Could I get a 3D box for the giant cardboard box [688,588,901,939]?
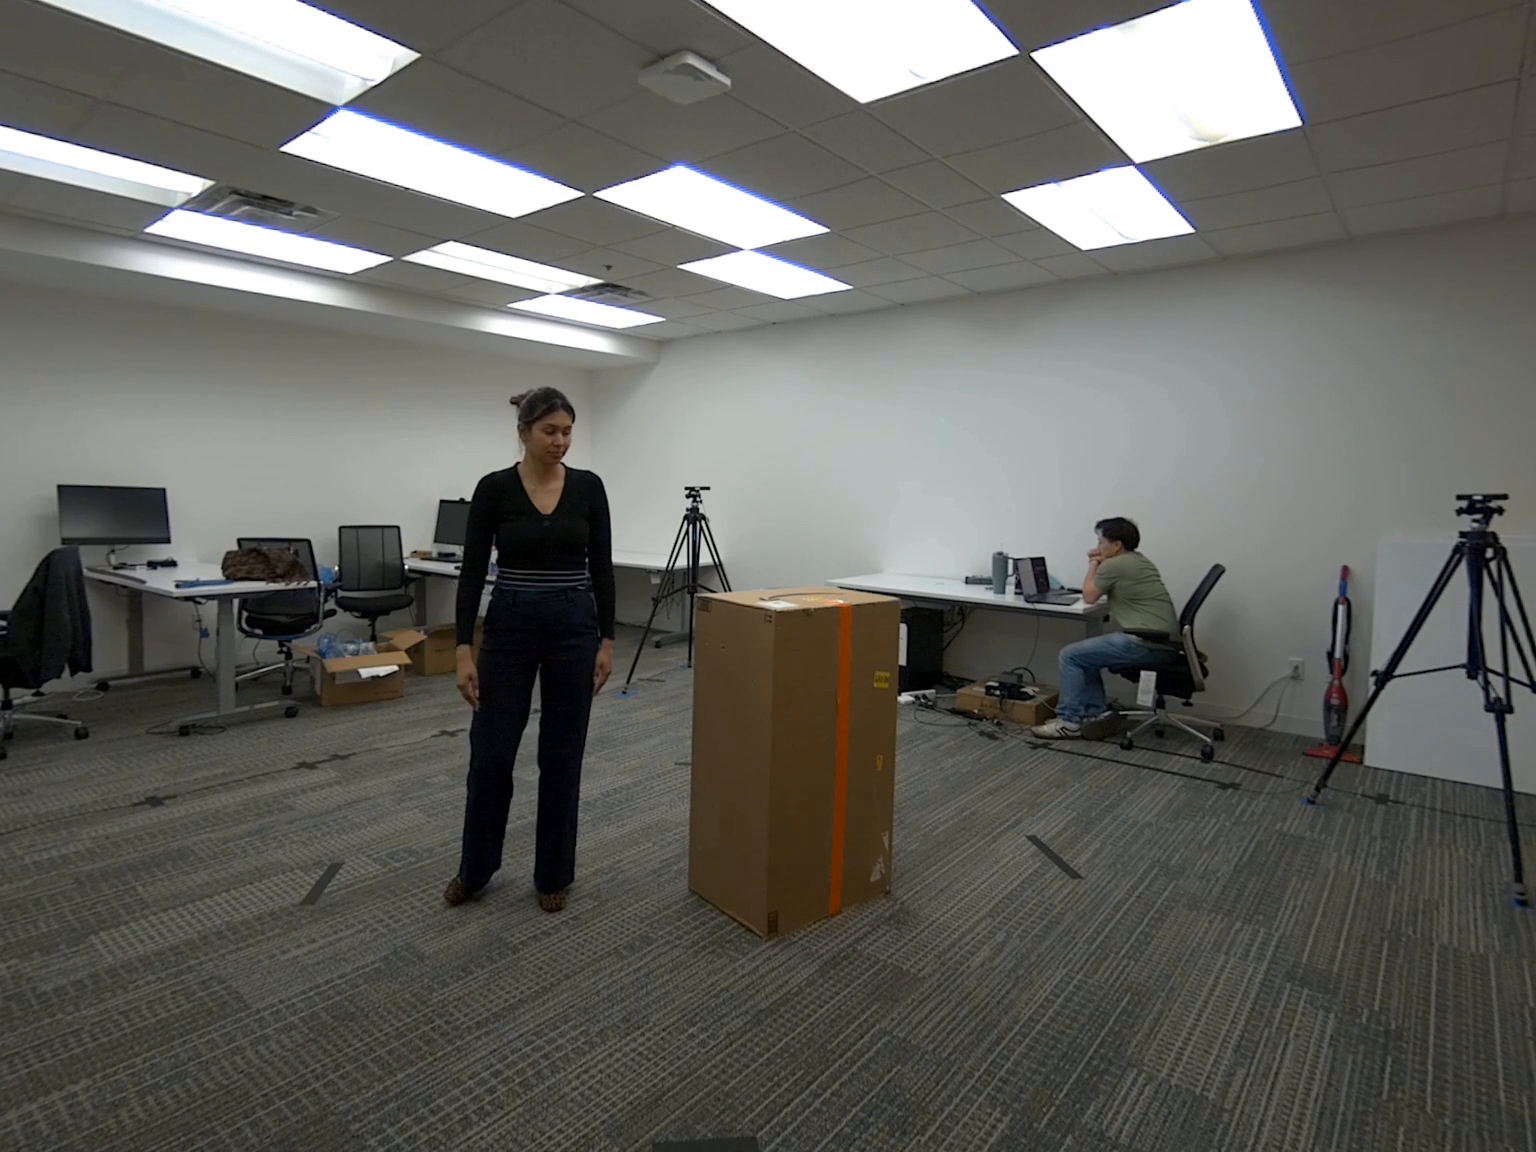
[{"bbox_3d":[0.086,0.581,2.921,0.560,1.023,0.441,-1,4,-40],"label":"giant cardboard box"}]
